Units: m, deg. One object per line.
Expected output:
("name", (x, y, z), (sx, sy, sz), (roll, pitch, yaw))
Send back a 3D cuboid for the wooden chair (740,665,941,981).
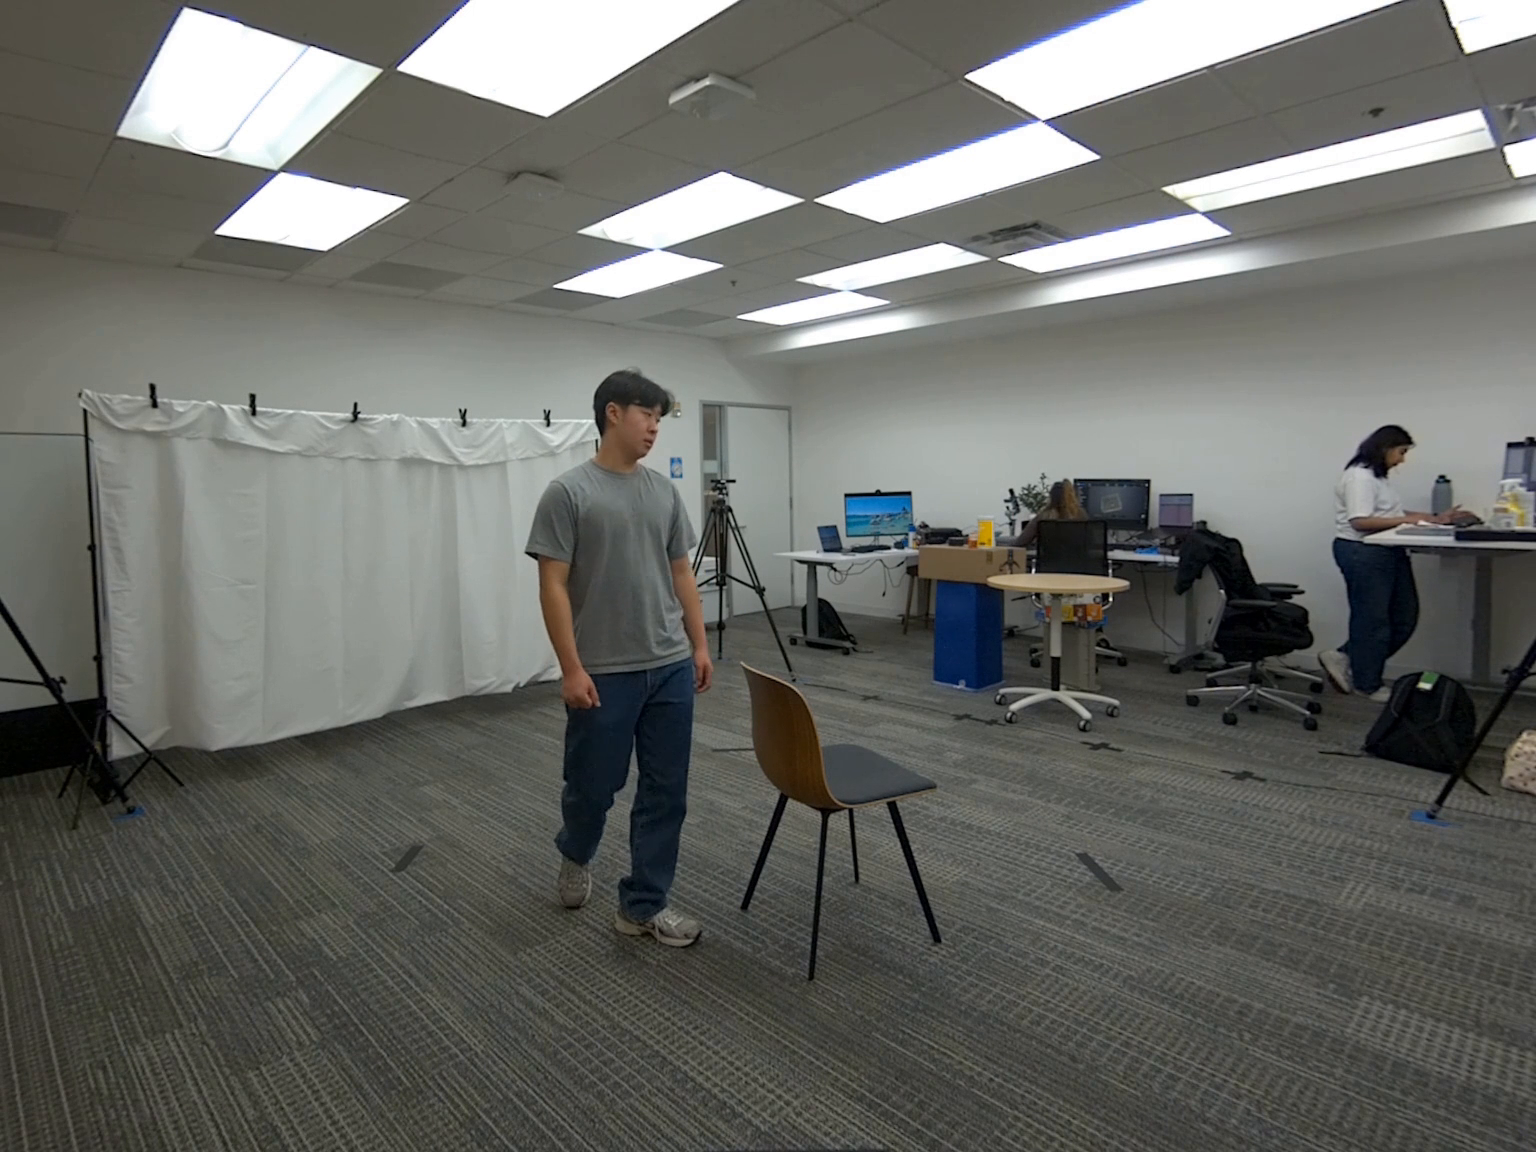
("wooden chair", (0.216, 0.667, 2.642), (0.513, 0.872, 0.490), (-8, 7, -25))
